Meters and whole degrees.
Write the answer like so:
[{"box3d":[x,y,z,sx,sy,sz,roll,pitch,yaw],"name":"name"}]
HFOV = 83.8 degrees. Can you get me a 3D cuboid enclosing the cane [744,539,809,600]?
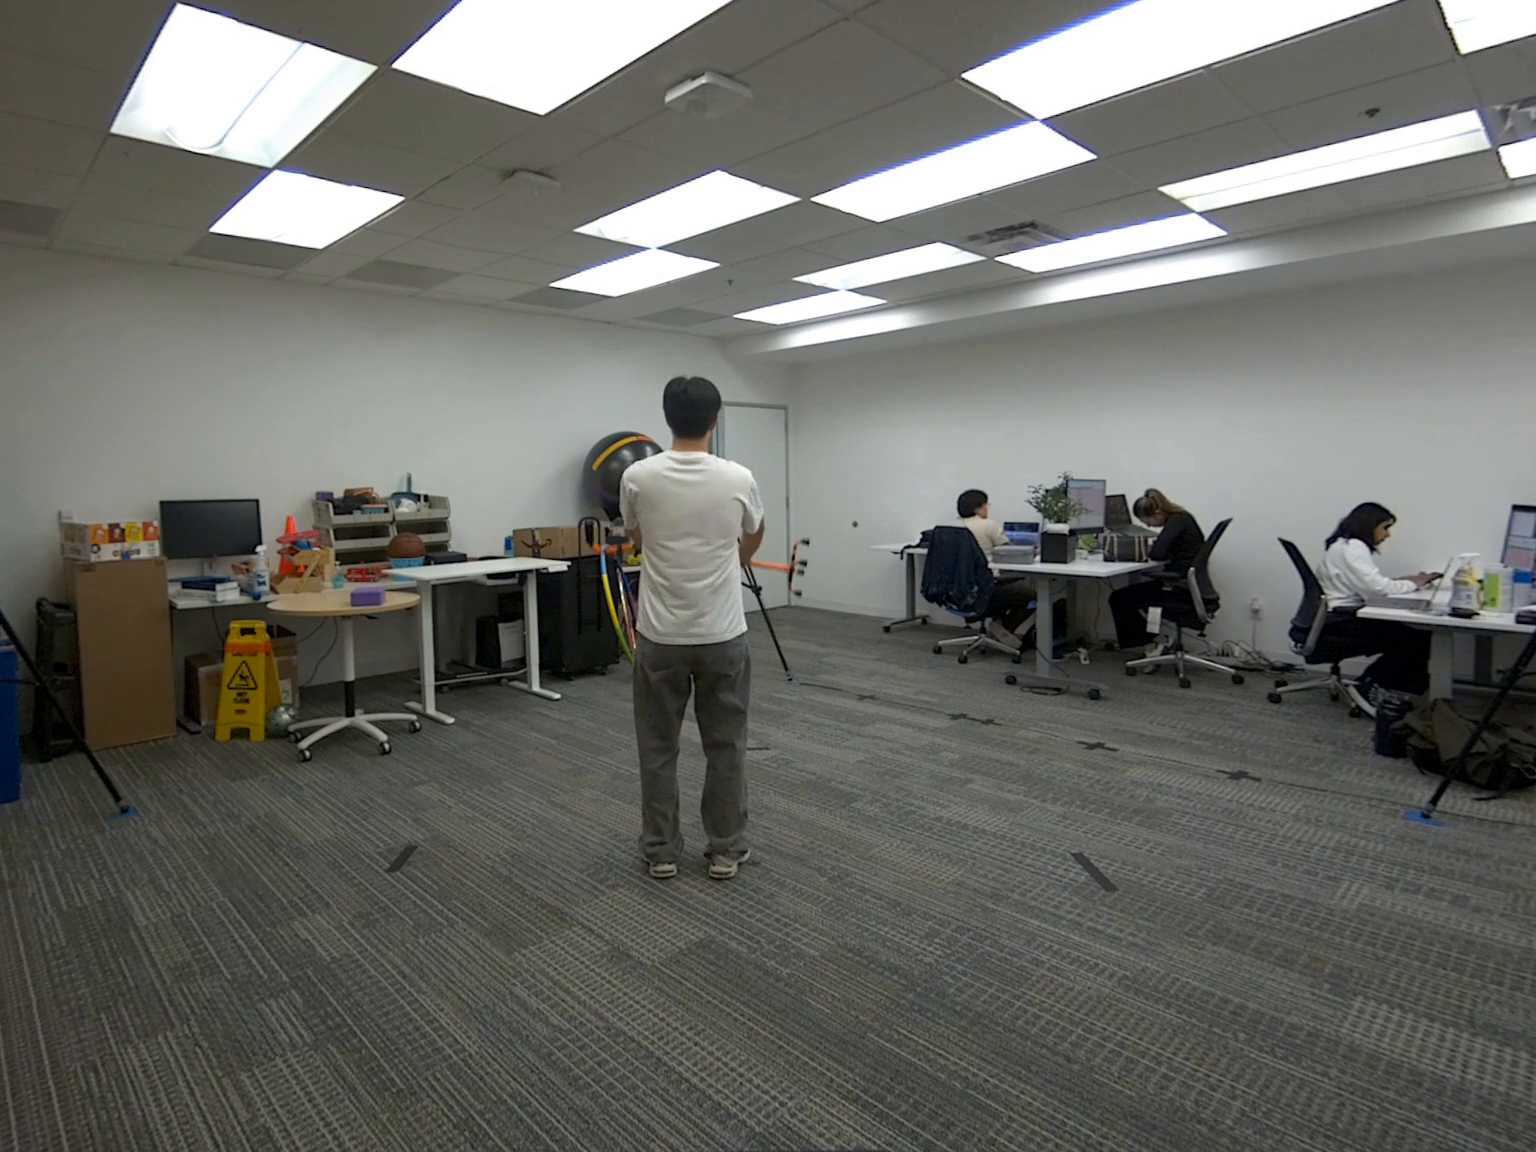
[{"box3d":[-0.297,-0.116,3.473,0.908,0.202,0.155,7,30,0],"name":"cane"}]
